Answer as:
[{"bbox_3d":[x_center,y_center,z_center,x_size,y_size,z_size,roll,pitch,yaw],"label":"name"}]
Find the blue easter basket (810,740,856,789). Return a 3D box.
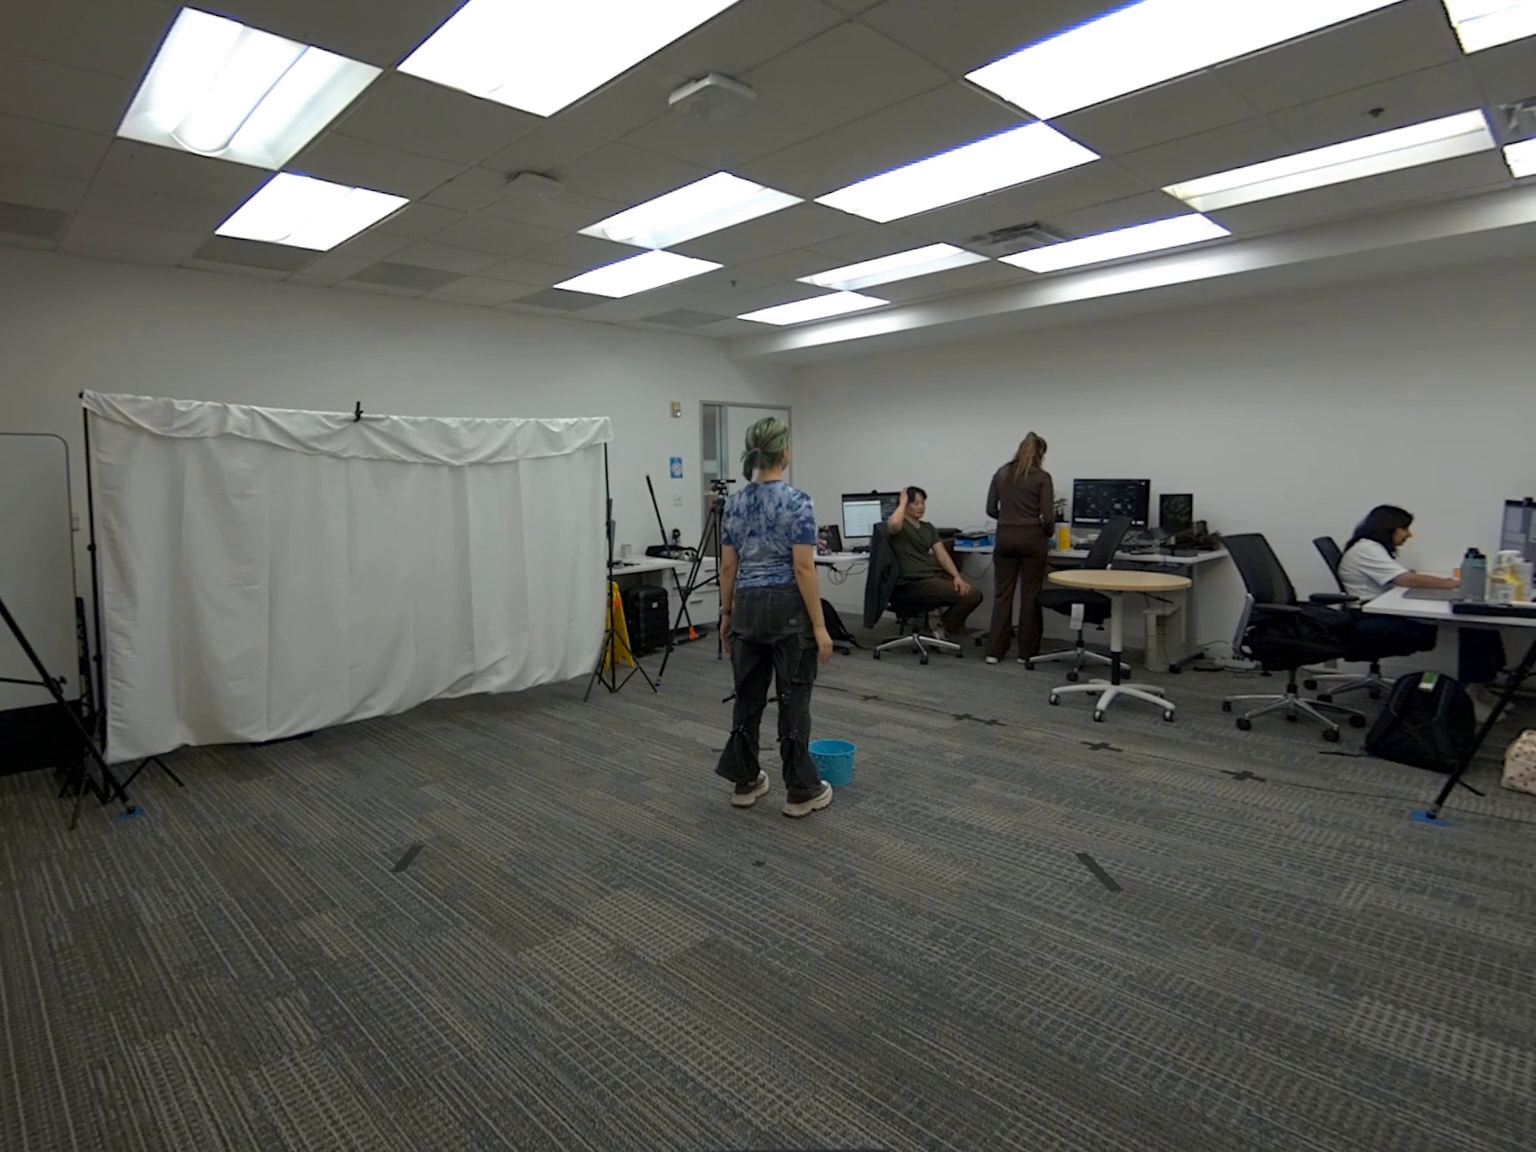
[{"bbox_3d":[0.301,0.868,3.971,0.243,0.155,0.245,-2,6,-2],"label":"blue easter basket"}]
